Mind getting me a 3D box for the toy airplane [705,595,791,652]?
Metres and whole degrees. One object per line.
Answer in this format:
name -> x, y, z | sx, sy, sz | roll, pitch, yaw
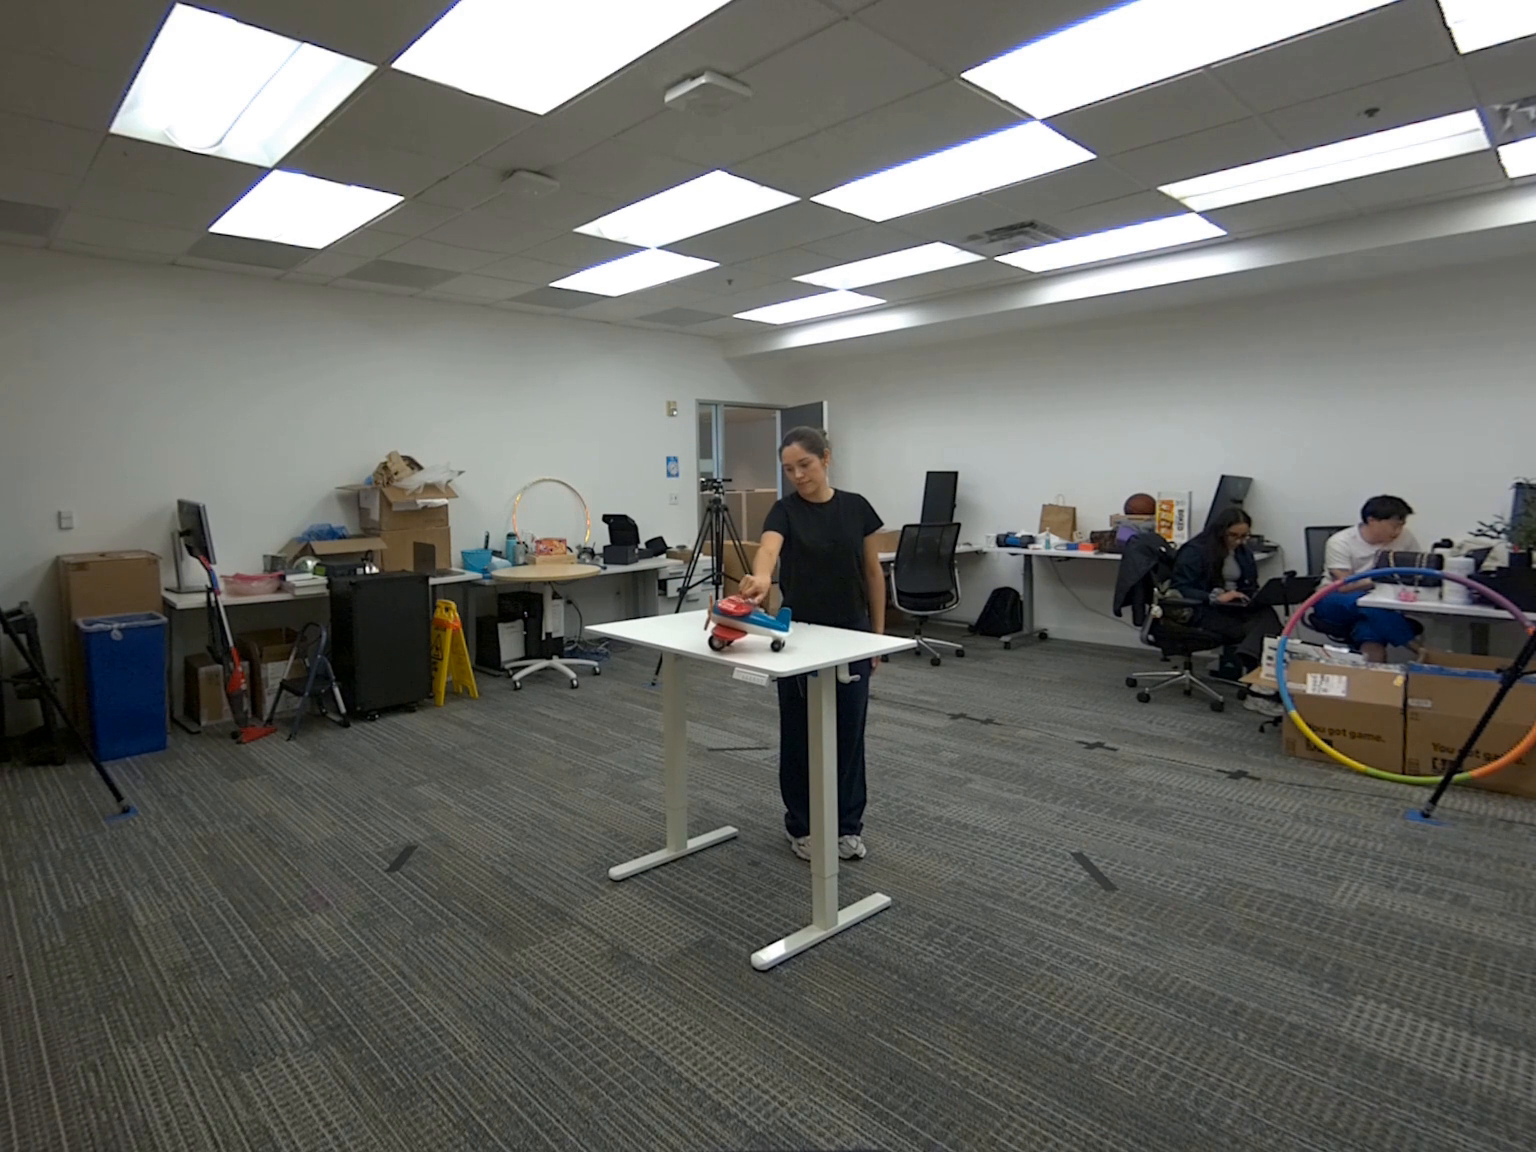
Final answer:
toy airplane -> -0.050, 0.136, 2.626 | 0.256, 0.156, 0.255 | -5, 5, -14
